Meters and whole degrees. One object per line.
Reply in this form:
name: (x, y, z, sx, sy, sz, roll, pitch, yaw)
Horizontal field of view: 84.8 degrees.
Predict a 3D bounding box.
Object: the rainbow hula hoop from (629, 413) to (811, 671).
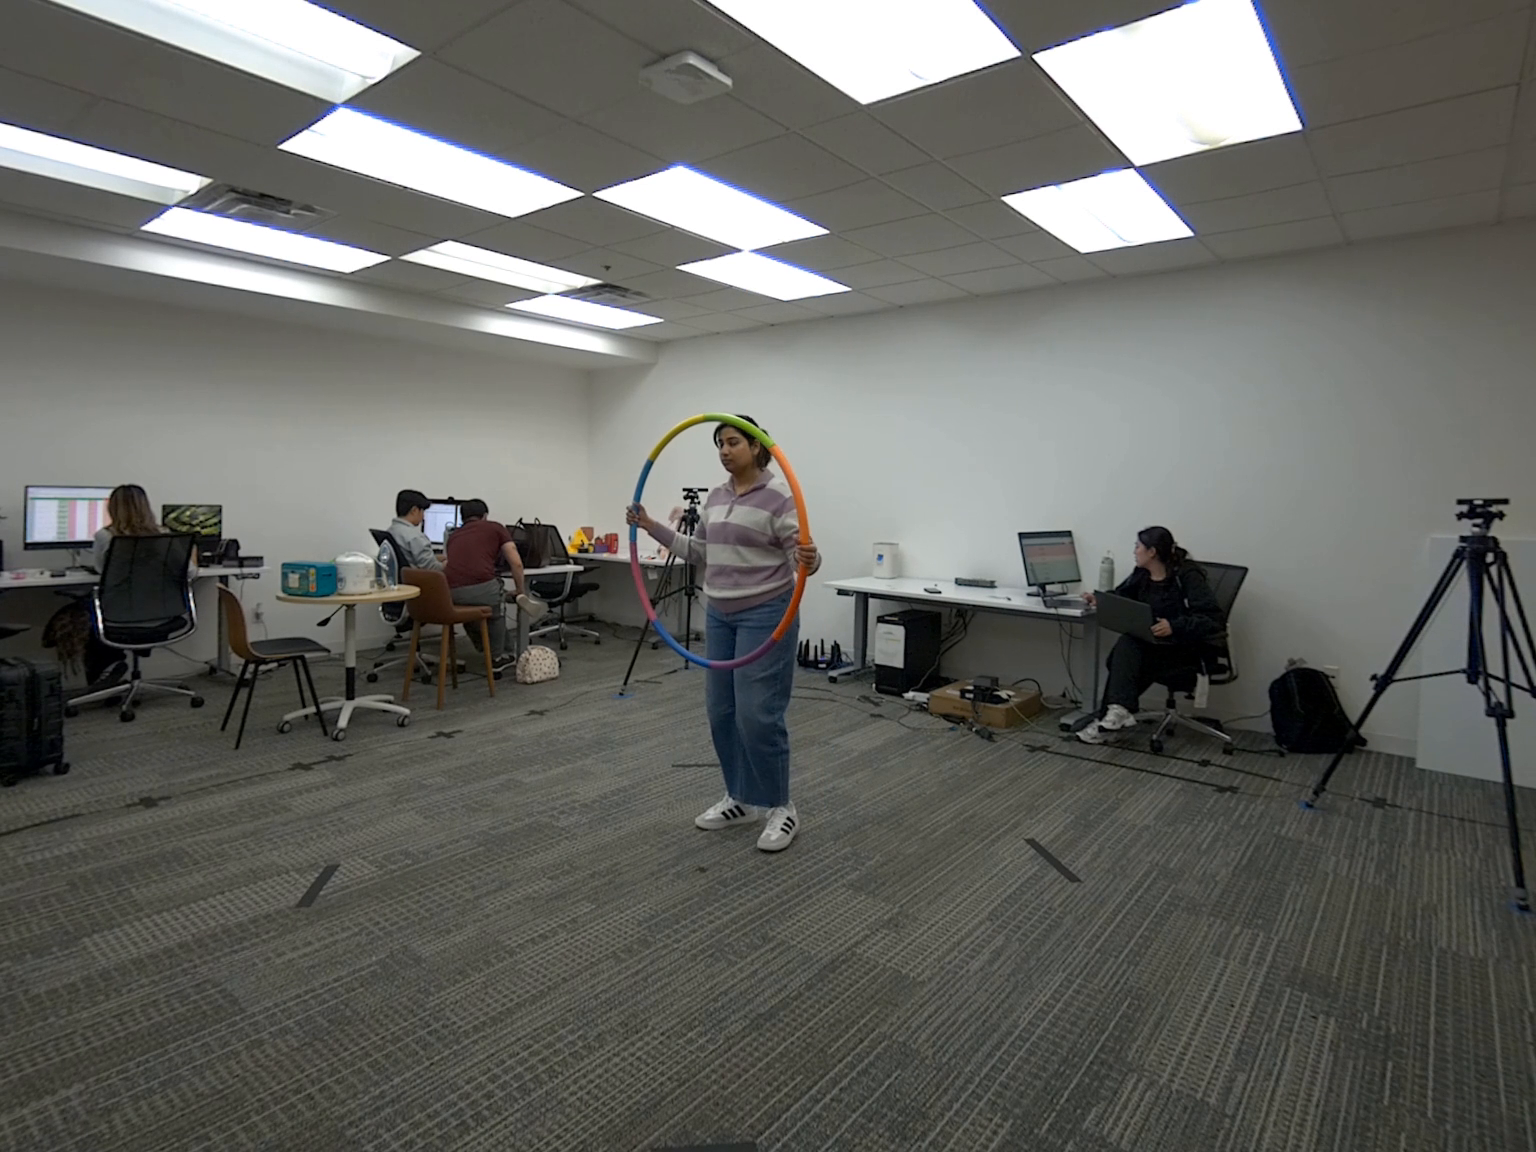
rainbow hula hoop: (-0.222, -0.139, 3.286, 1.012, 0.975, 0.034, 5, 5, 44)
